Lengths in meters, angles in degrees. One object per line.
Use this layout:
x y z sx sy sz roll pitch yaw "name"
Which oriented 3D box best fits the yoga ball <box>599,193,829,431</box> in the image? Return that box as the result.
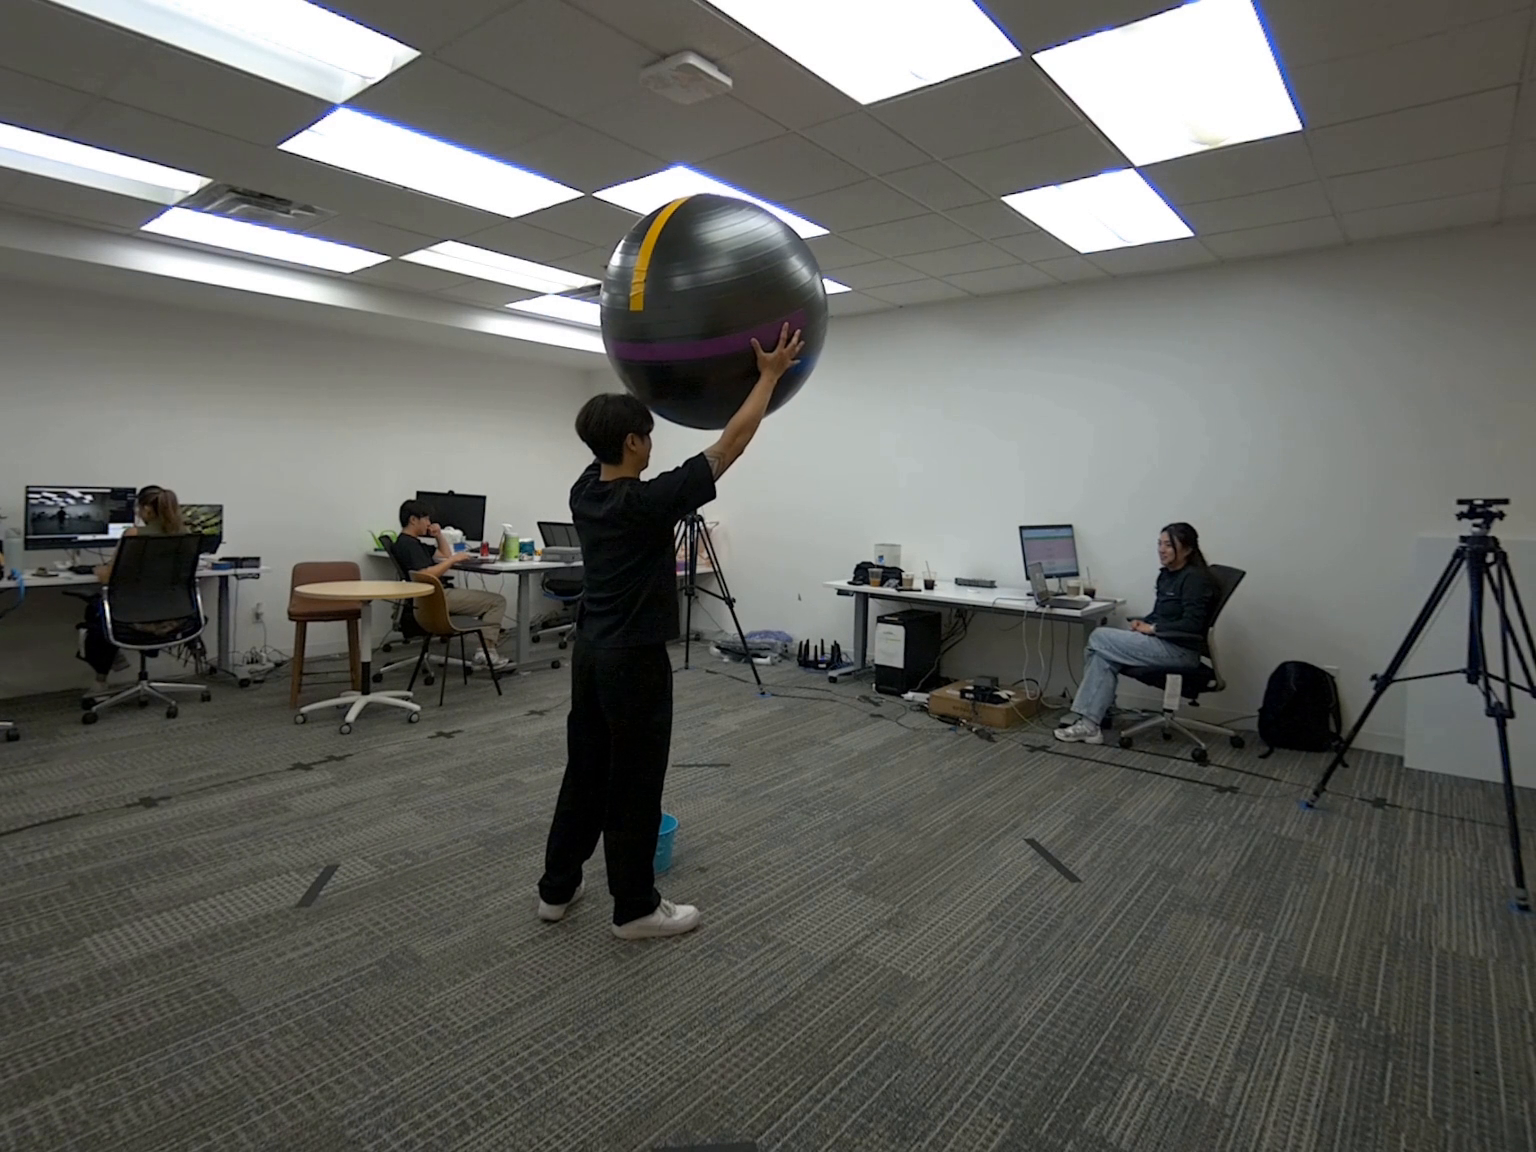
-0.185 -0.864 2.833 0.757 0.755 0.762 1 4 -2 "yoga ball"
